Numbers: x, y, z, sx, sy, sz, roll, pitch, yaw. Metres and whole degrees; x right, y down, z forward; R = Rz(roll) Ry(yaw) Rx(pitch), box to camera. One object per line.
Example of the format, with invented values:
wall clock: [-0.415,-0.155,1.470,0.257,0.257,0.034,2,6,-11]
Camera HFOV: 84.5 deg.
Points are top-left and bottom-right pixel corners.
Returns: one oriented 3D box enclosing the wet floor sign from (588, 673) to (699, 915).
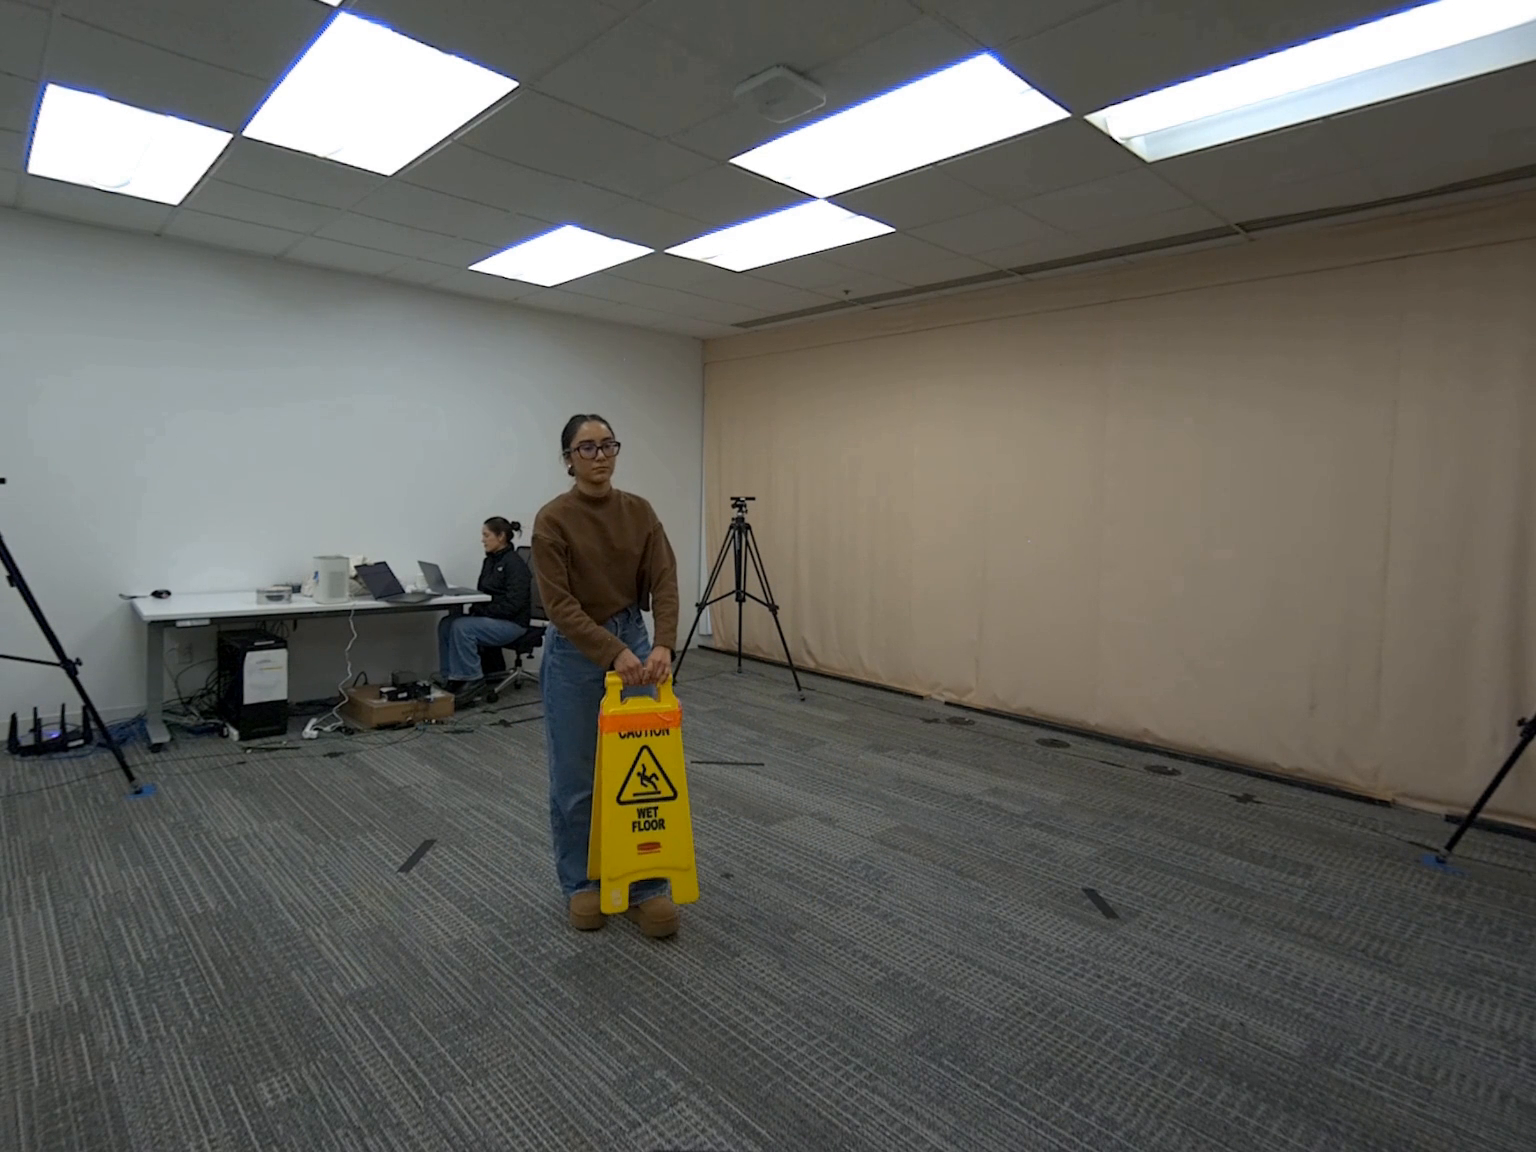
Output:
wet floor sign: [-0.384,0.604,2.485,0.278,0.646,0.294,1,-1,-19]
